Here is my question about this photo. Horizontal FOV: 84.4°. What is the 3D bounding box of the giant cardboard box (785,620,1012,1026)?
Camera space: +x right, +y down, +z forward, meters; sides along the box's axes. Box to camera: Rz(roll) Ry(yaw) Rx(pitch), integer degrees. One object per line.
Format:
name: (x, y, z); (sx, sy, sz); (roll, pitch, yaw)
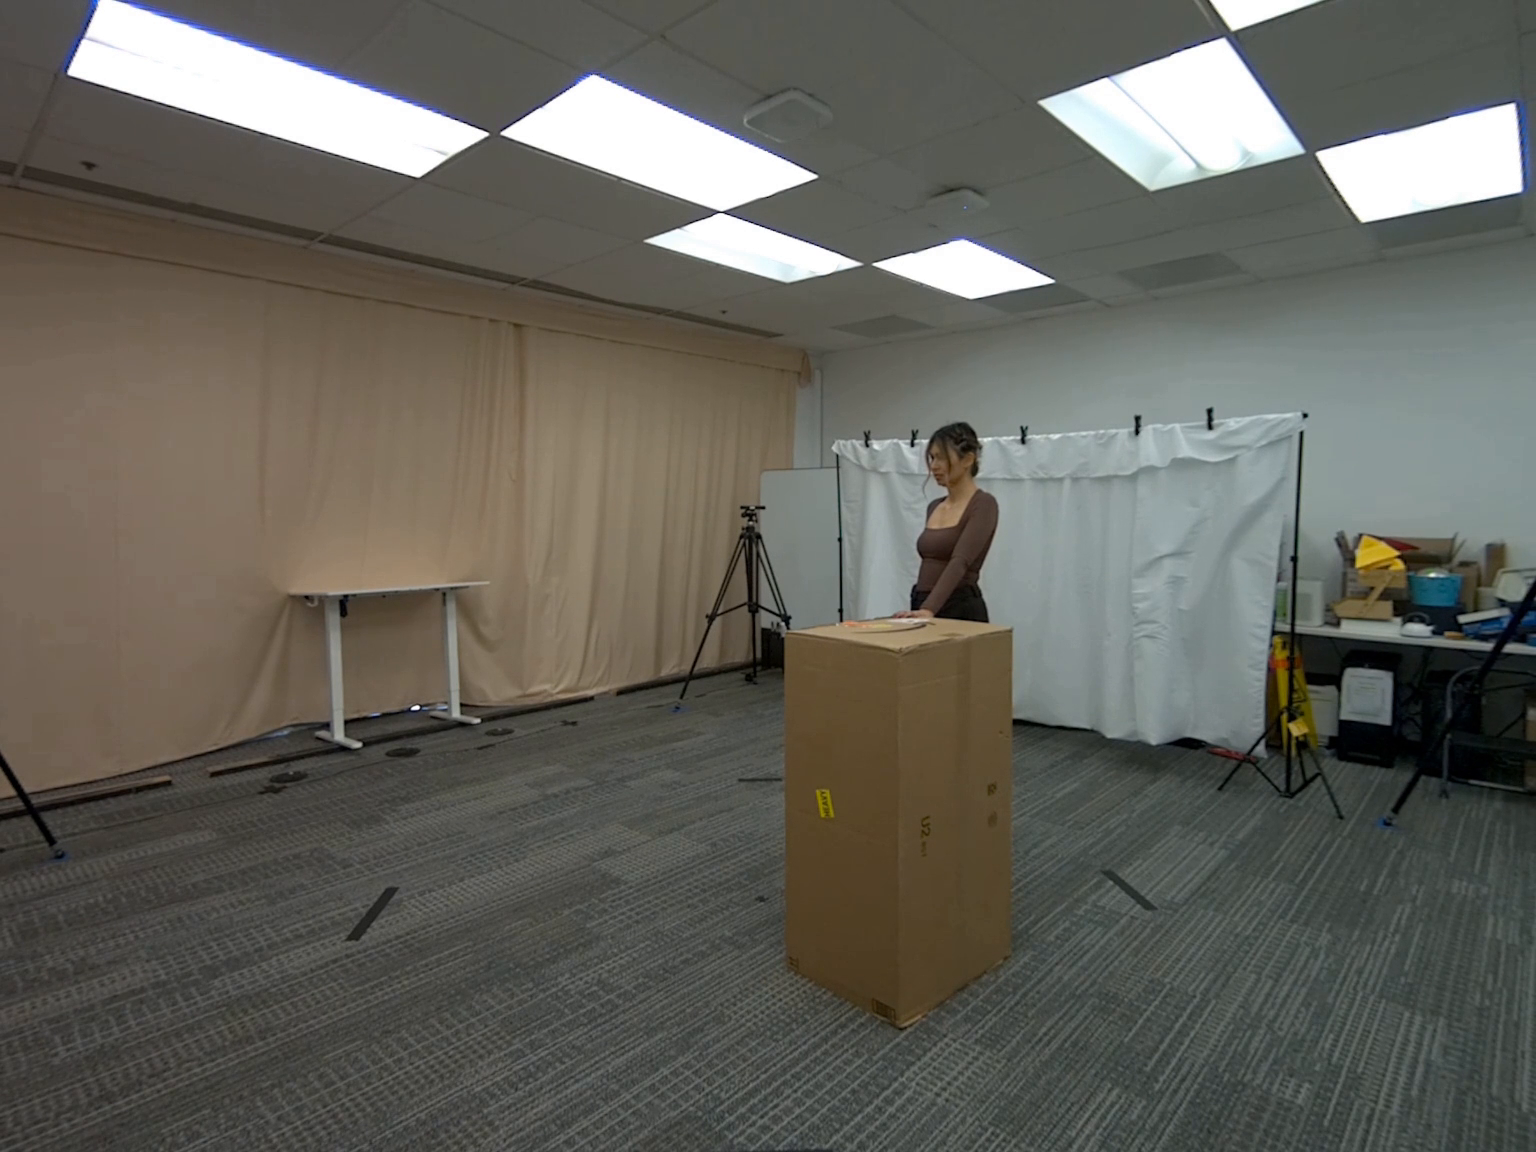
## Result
giant cardboard box: (0.404, 0.670, 2.553); (0.566, 1.025, 0.461); (-3, 3, -41)
